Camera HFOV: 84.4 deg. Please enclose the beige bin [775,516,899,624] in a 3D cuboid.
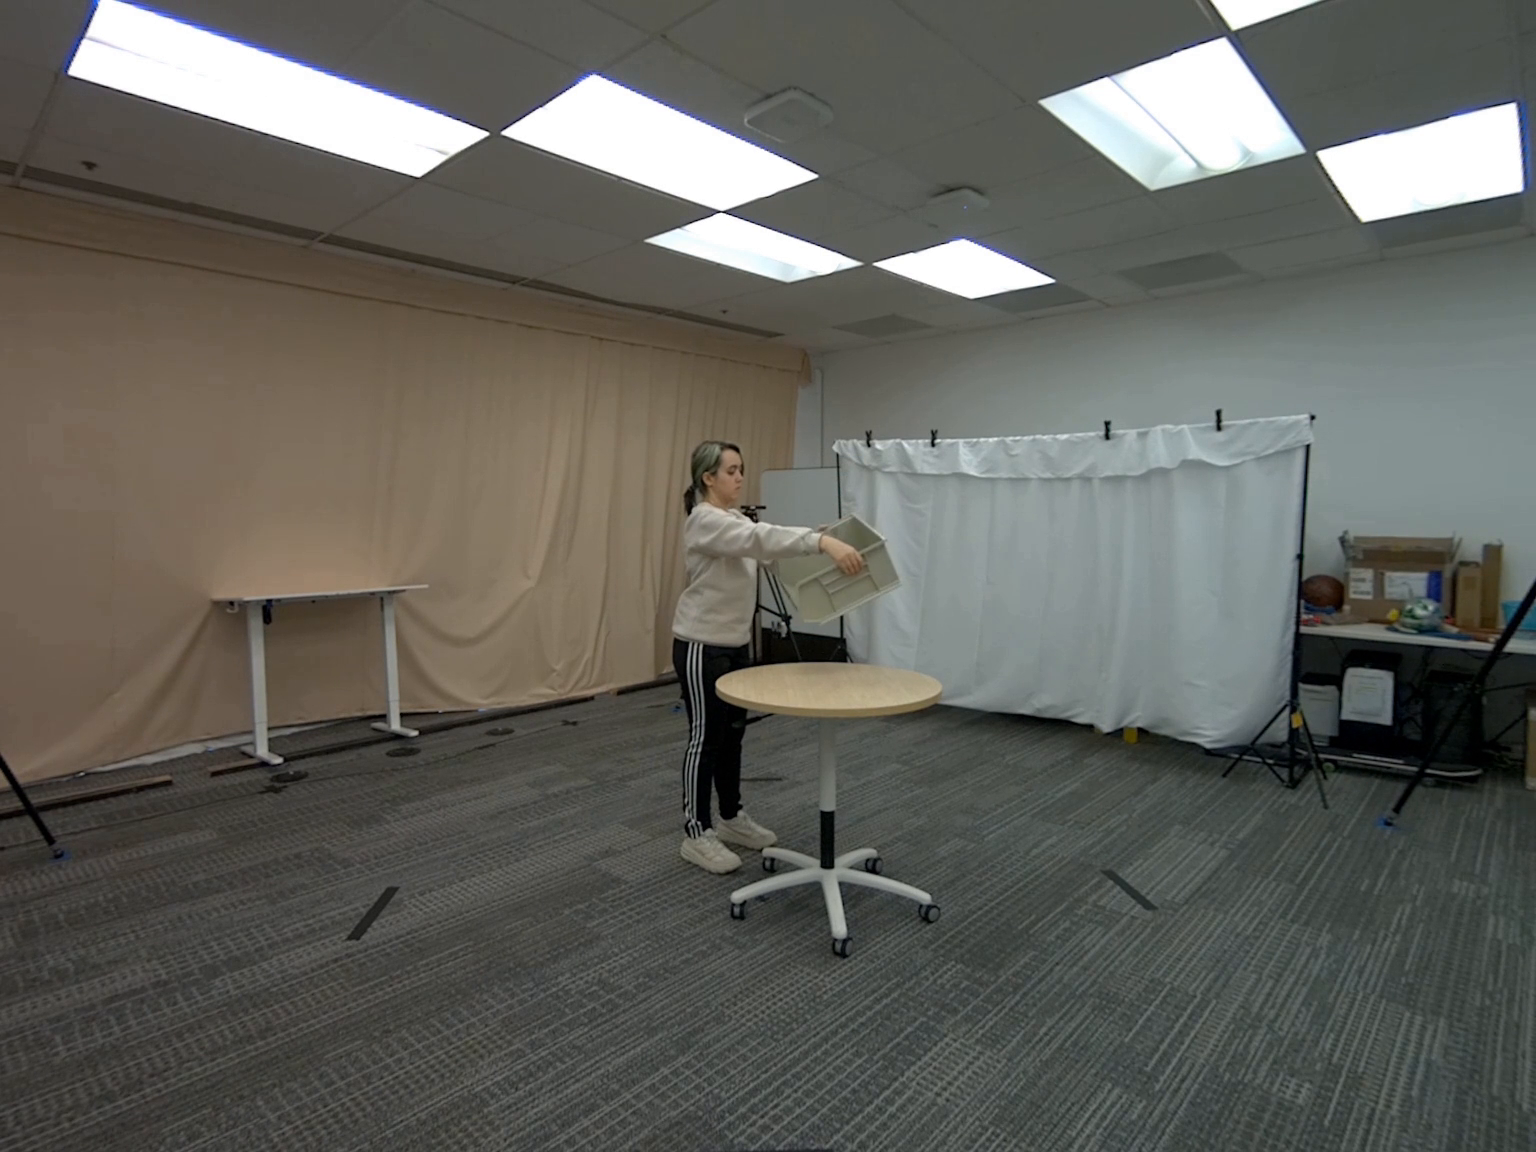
[{"bbox_3d":[0.233,-0.025,3.066,0.378,0.186,0.429,-25,17,1],"label":"beige bin"}]
